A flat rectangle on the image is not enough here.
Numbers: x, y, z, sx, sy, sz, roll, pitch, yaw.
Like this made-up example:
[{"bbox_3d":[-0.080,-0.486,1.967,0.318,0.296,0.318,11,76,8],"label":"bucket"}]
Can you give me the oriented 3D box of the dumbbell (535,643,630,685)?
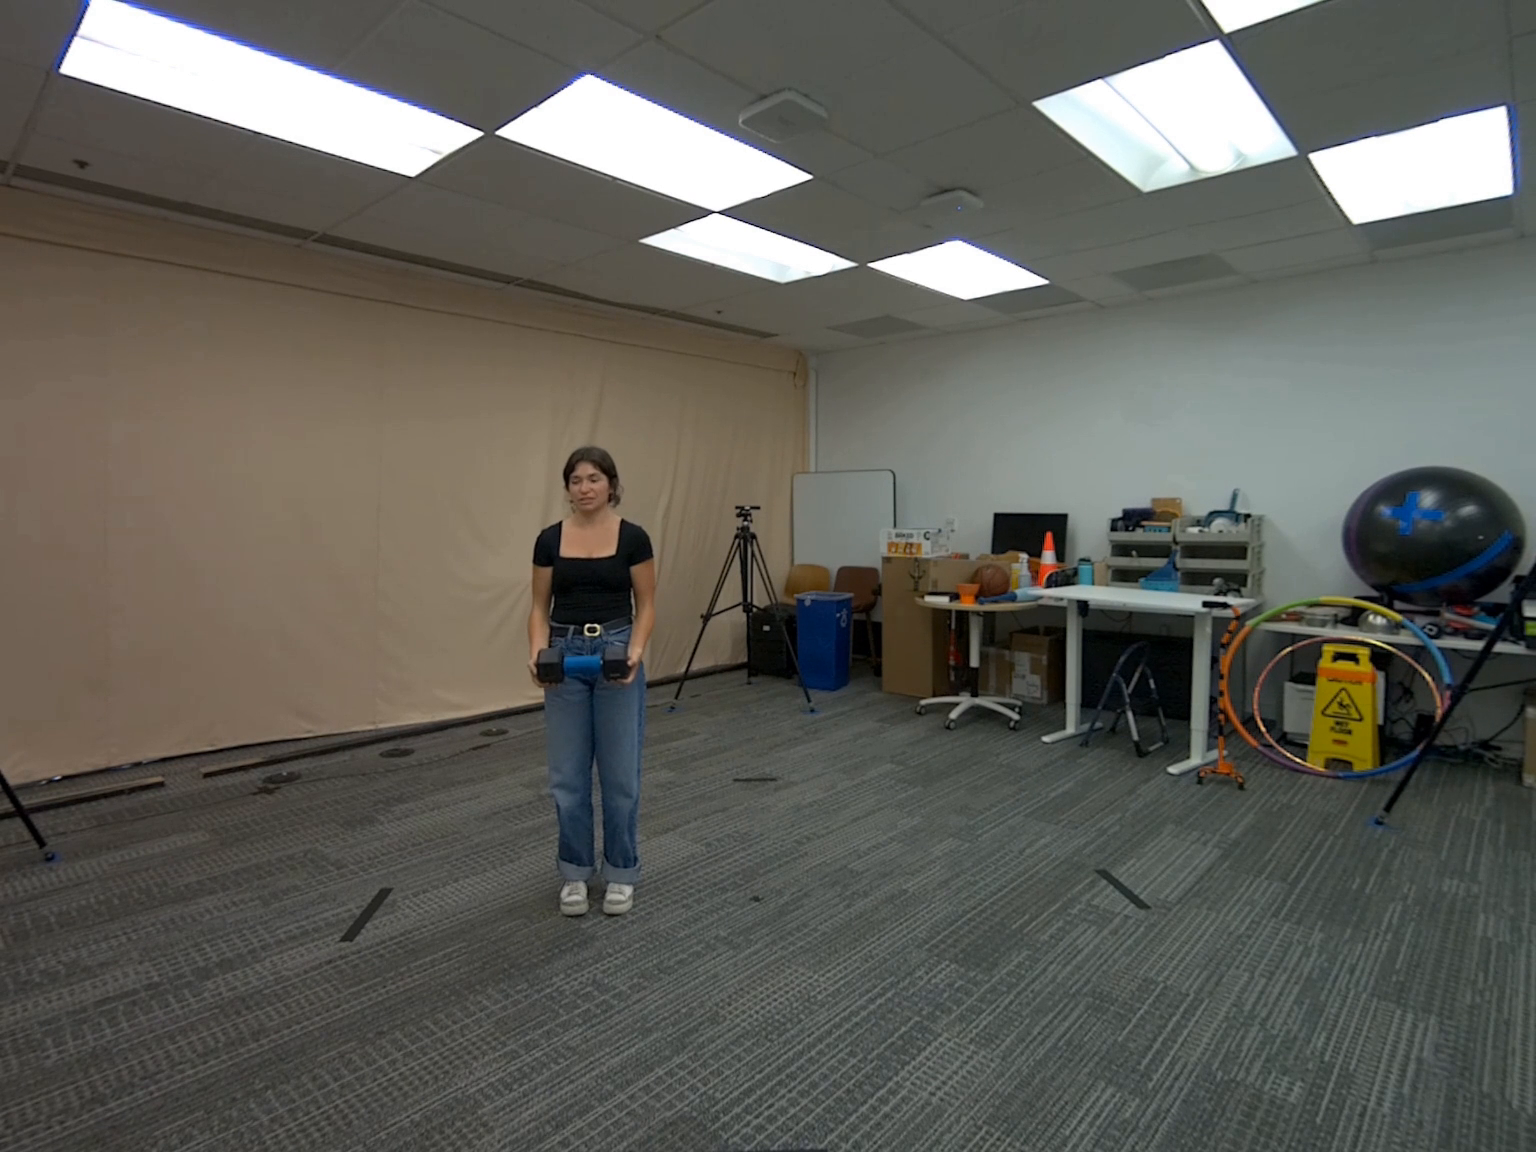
[{"bbox_3d":[-0.608,0.272,2.754,0.293,0.110,0.122,0,-18,-2],"label":"dumbbell"}]
